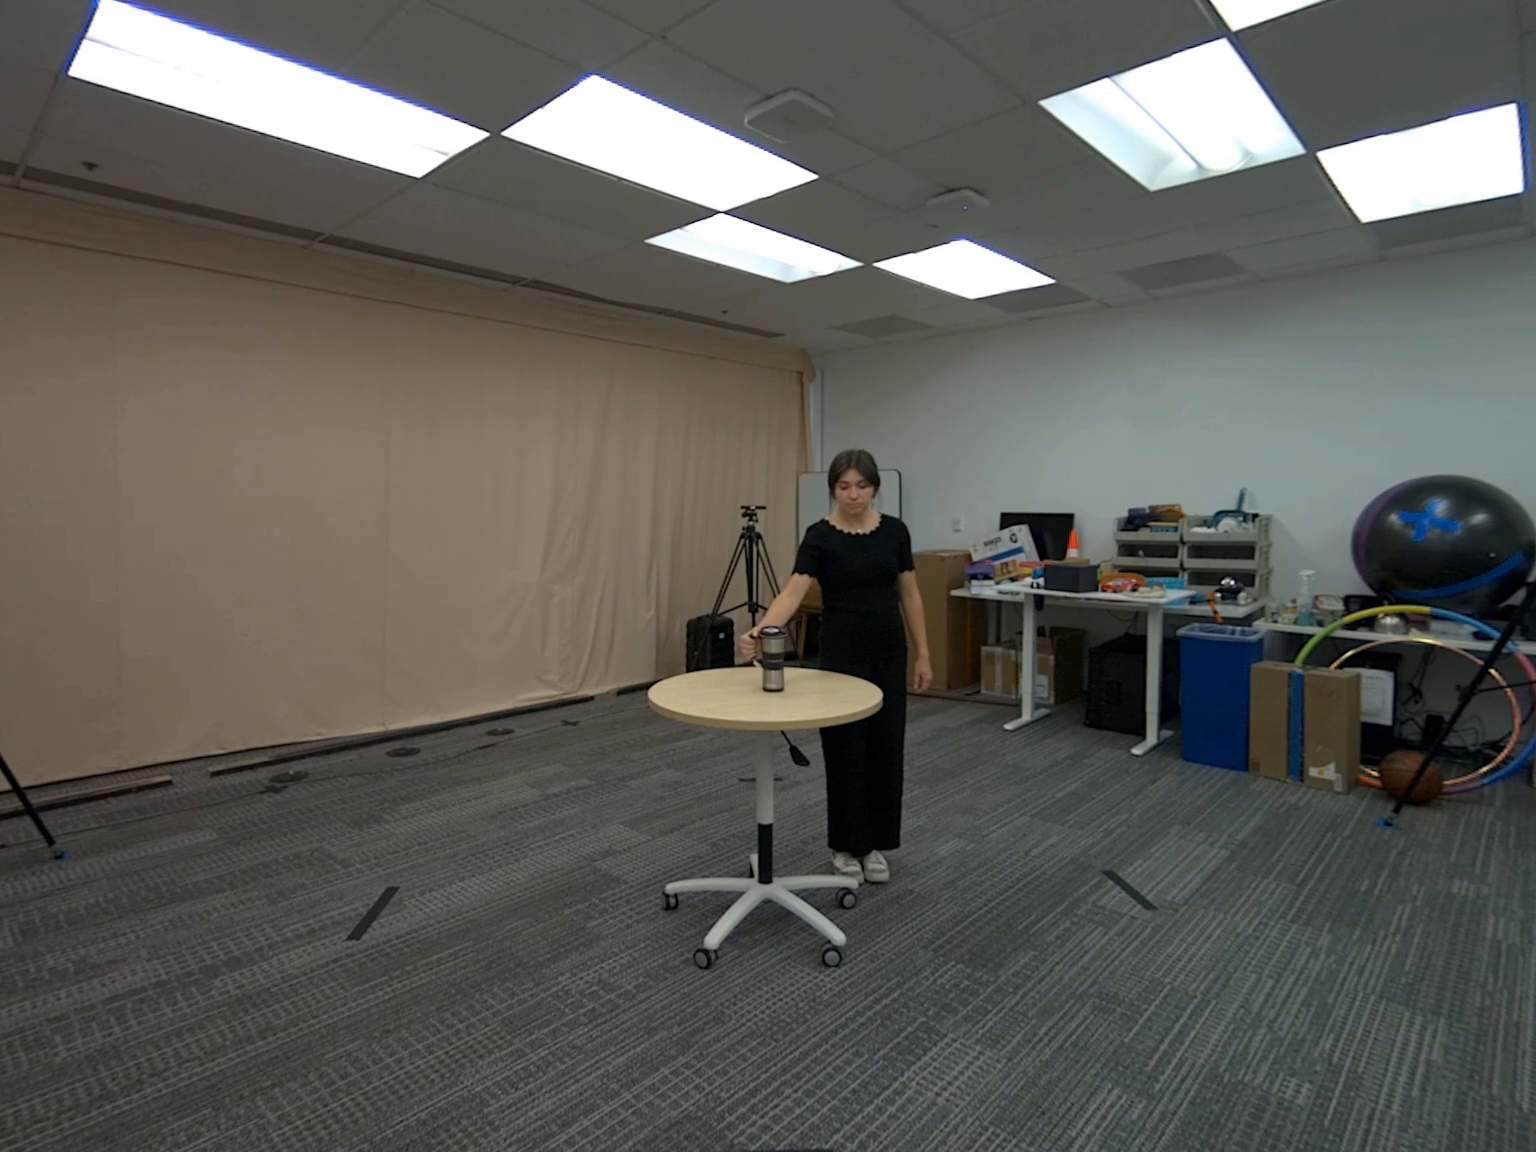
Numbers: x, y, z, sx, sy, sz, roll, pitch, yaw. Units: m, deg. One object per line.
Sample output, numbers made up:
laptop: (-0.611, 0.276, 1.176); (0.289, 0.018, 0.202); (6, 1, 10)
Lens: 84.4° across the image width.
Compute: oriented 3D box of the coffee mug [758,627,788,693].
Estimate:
coffee mug: (0.009, 0.272, 2.774); (0.125, 0.201, 0.086); (7, 14, 27)
